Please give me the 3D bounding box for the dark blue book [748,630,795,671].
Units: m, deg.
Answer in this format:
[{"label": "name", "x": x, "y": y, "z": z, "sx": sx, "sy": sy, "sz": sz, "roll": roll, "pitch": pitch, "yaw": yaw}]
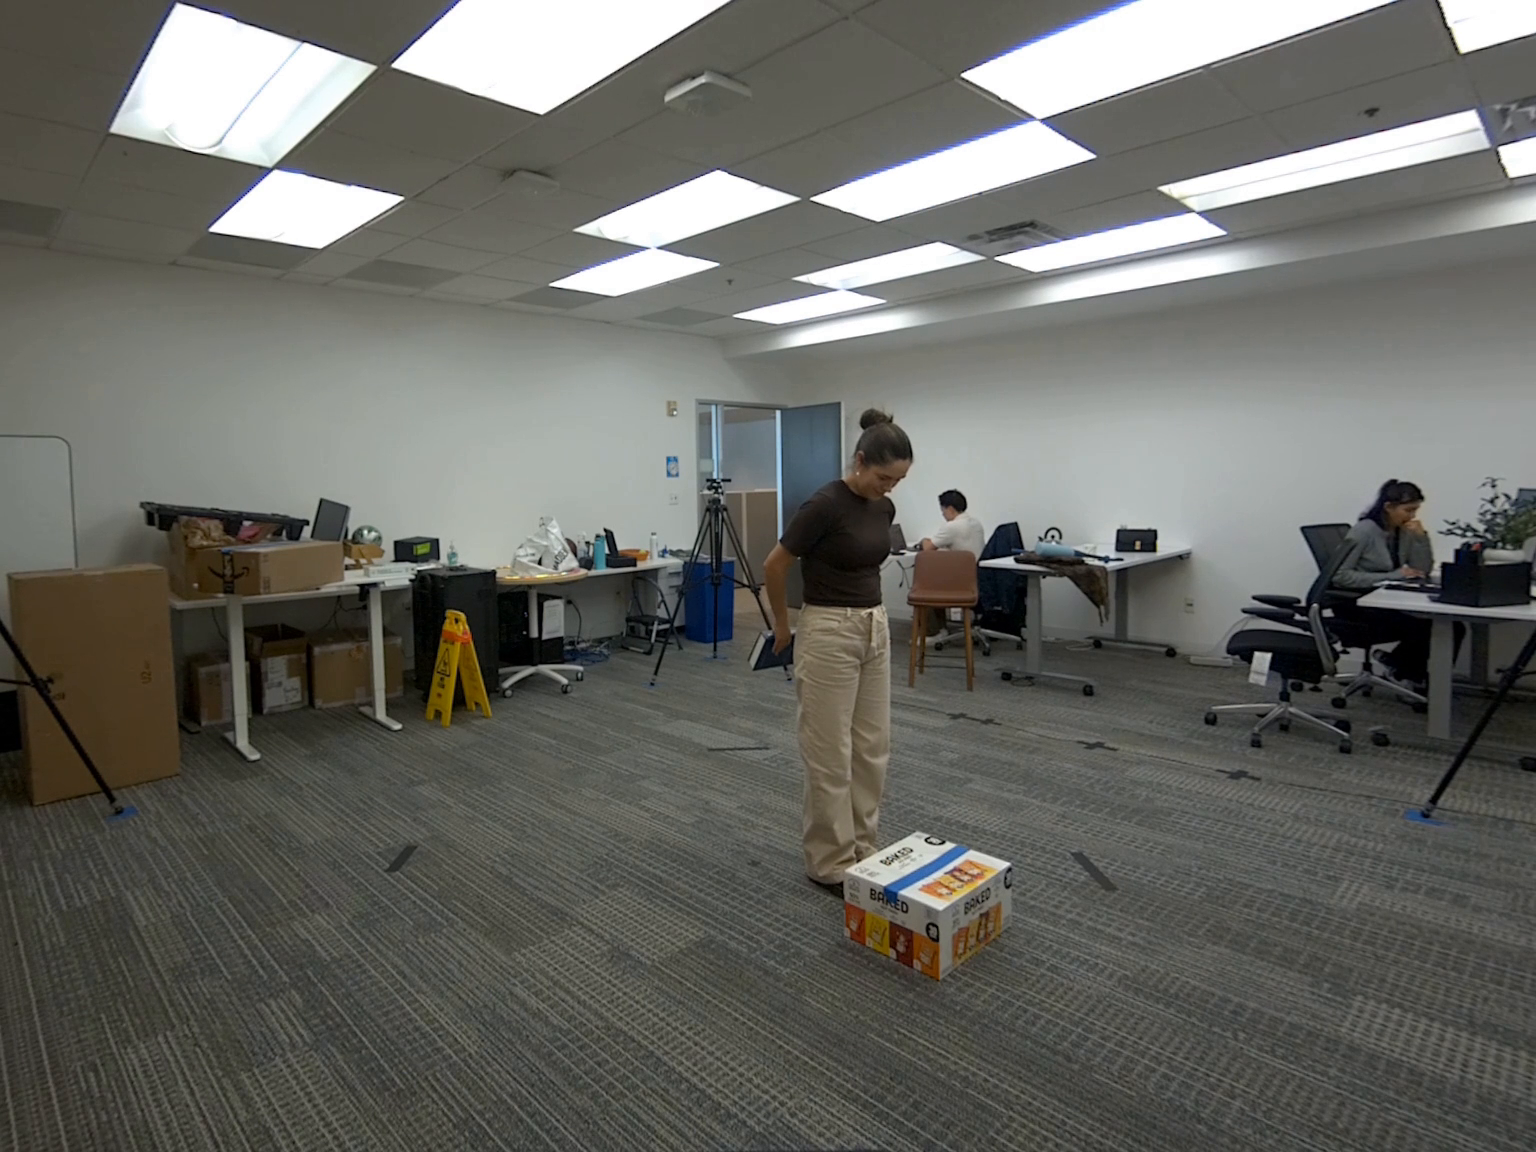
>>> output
[{"label": "dark blue book", "x": 0.066, "y": 0.263, "z": 3.120, "sx": 0.239, "sy": 0.161, "sz": 0.047, "roll": -4, "pitch": 44, "yaw": -32}]
